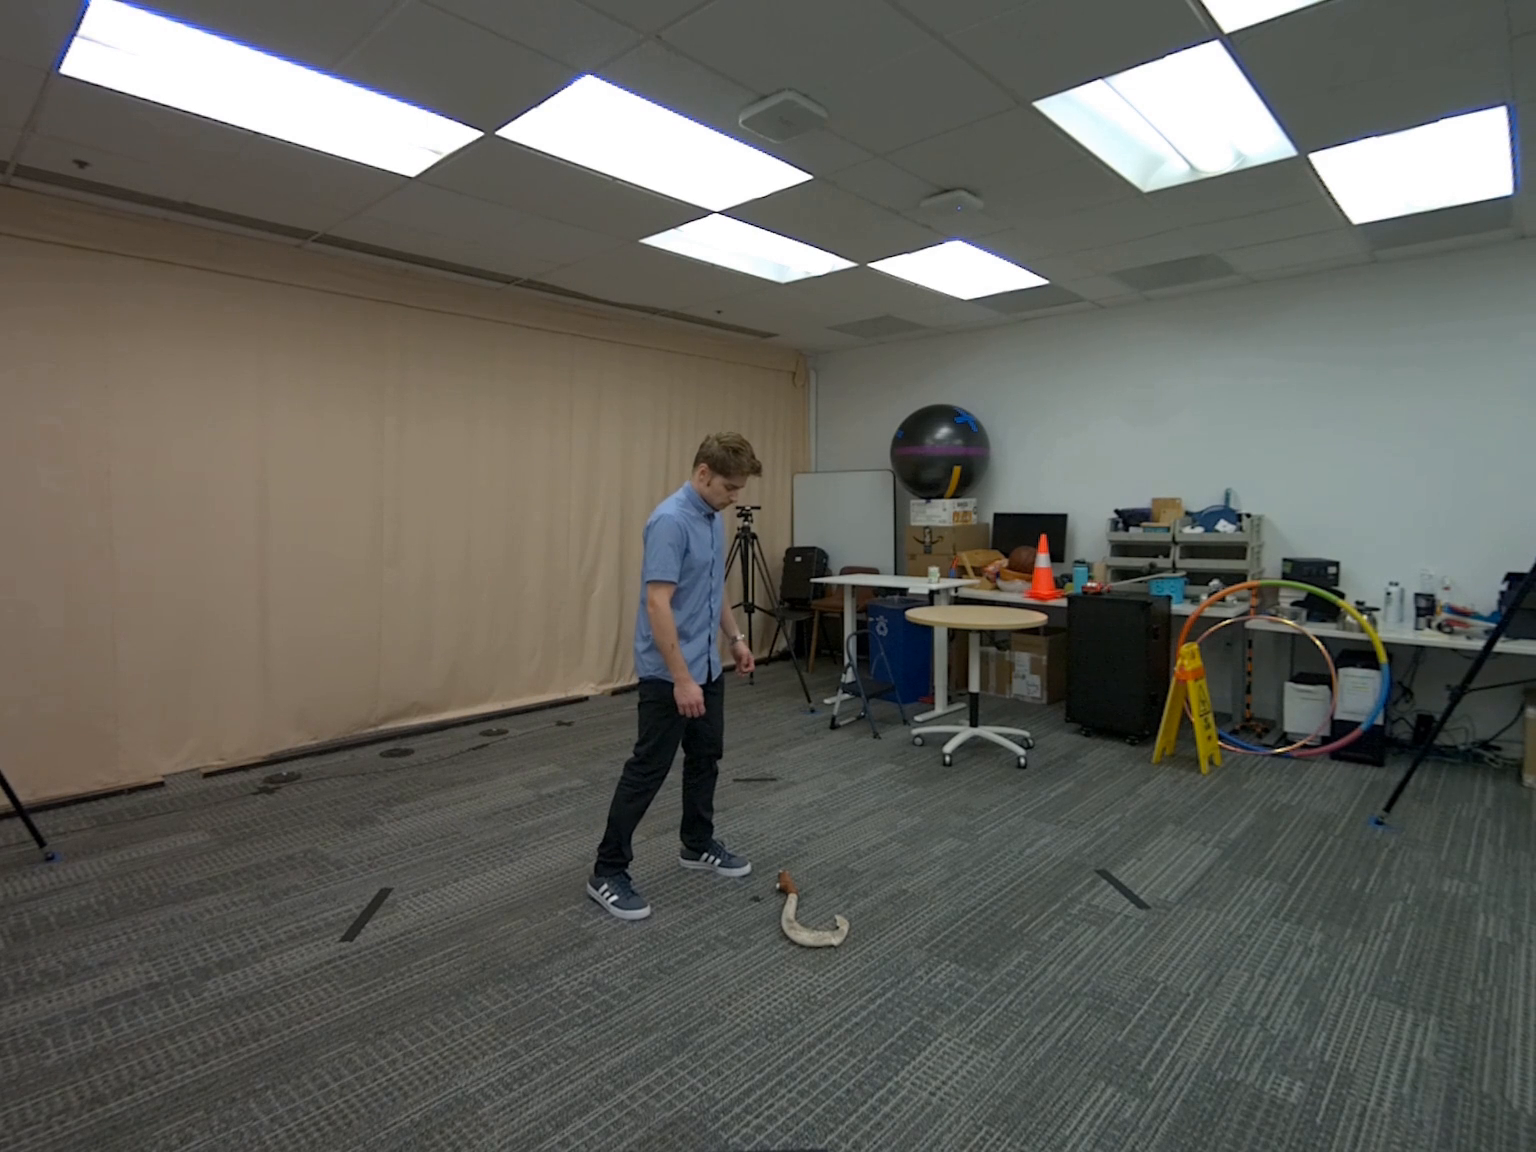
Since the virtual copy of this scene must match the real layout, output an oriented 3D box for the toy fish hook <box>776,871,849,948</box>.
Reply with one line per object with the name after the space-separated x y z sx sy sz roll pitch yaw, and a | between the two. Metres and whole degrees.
0.140 1.134 2.892 0.223 0.048 0.511 7 5 -7 | toy fish hook
